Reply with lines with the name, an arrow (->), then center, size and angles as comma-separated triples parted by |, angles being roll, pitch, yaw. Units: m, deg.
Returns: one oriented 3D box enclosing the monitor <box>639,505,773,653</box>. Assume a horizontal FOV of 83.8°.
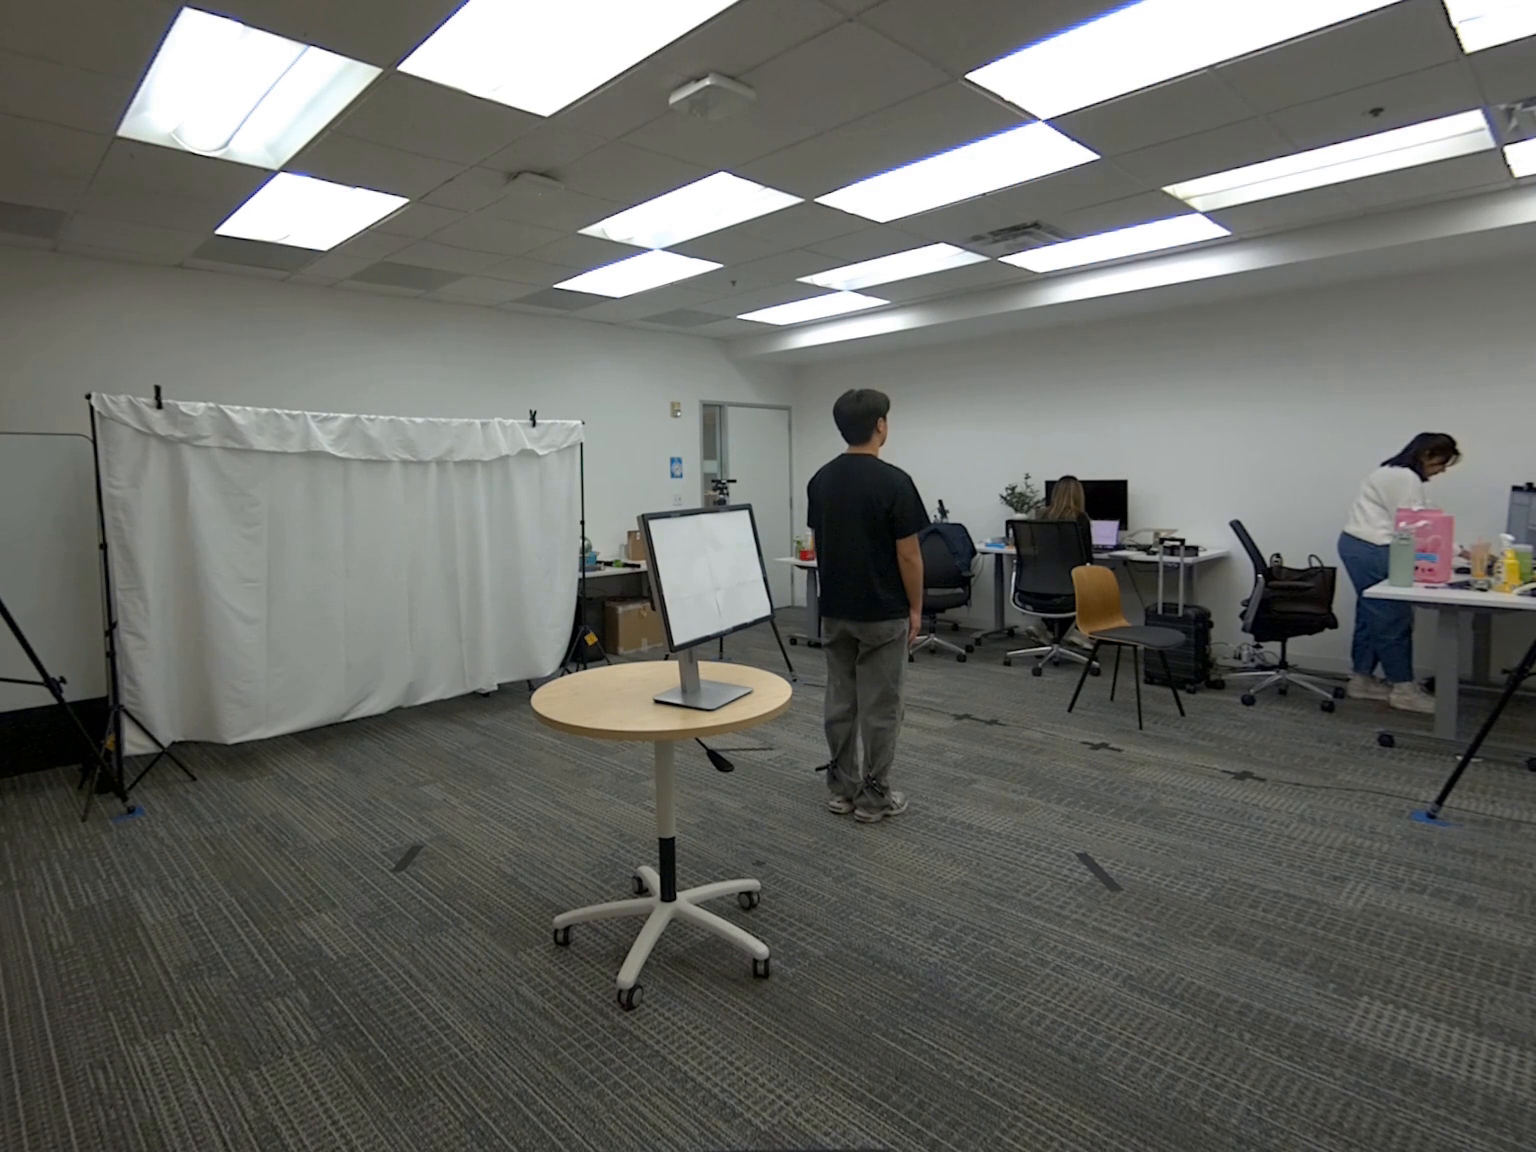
monitor -> -0.178, 0.090, 2.424 | 0.228, 0.563, 0.549 | 5, 8, 31
